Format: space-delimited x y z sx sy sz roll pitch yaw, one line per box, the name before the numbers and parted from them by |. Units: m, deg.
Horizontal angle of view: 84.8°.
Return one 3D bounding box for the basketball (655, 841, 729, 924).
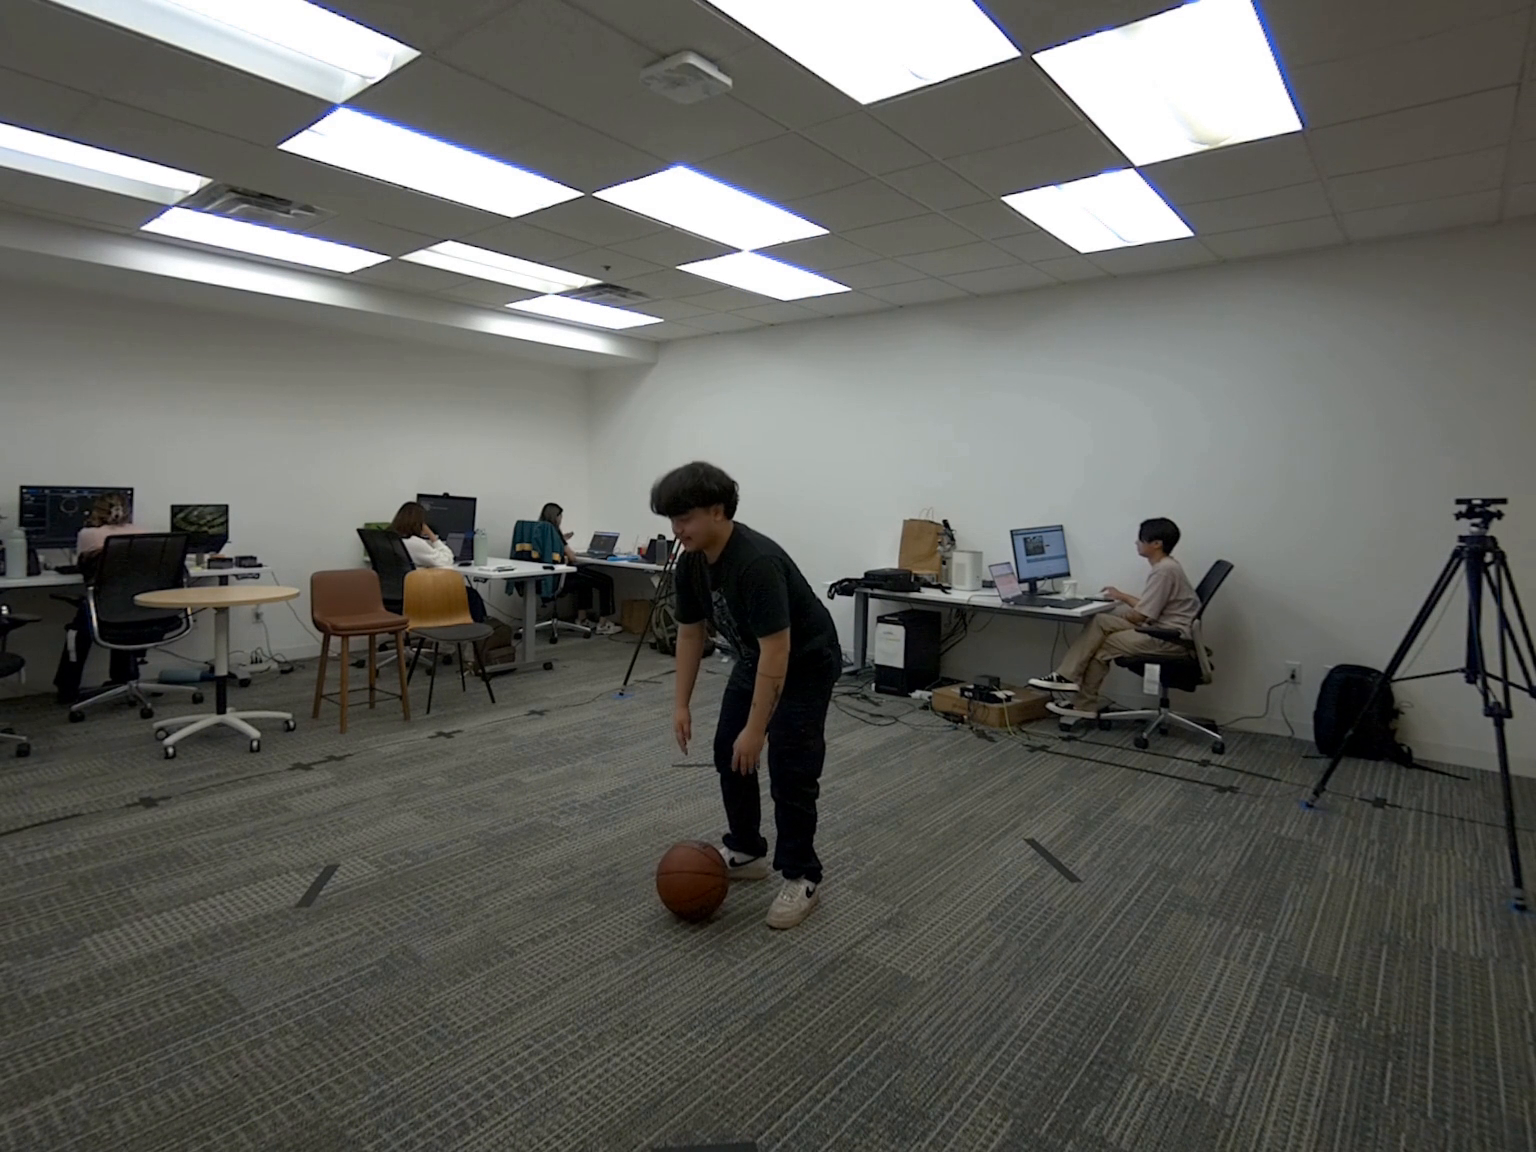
basketball | -0.255 0.983 2.768 0.235 0.235 0.237 1 4 -2
